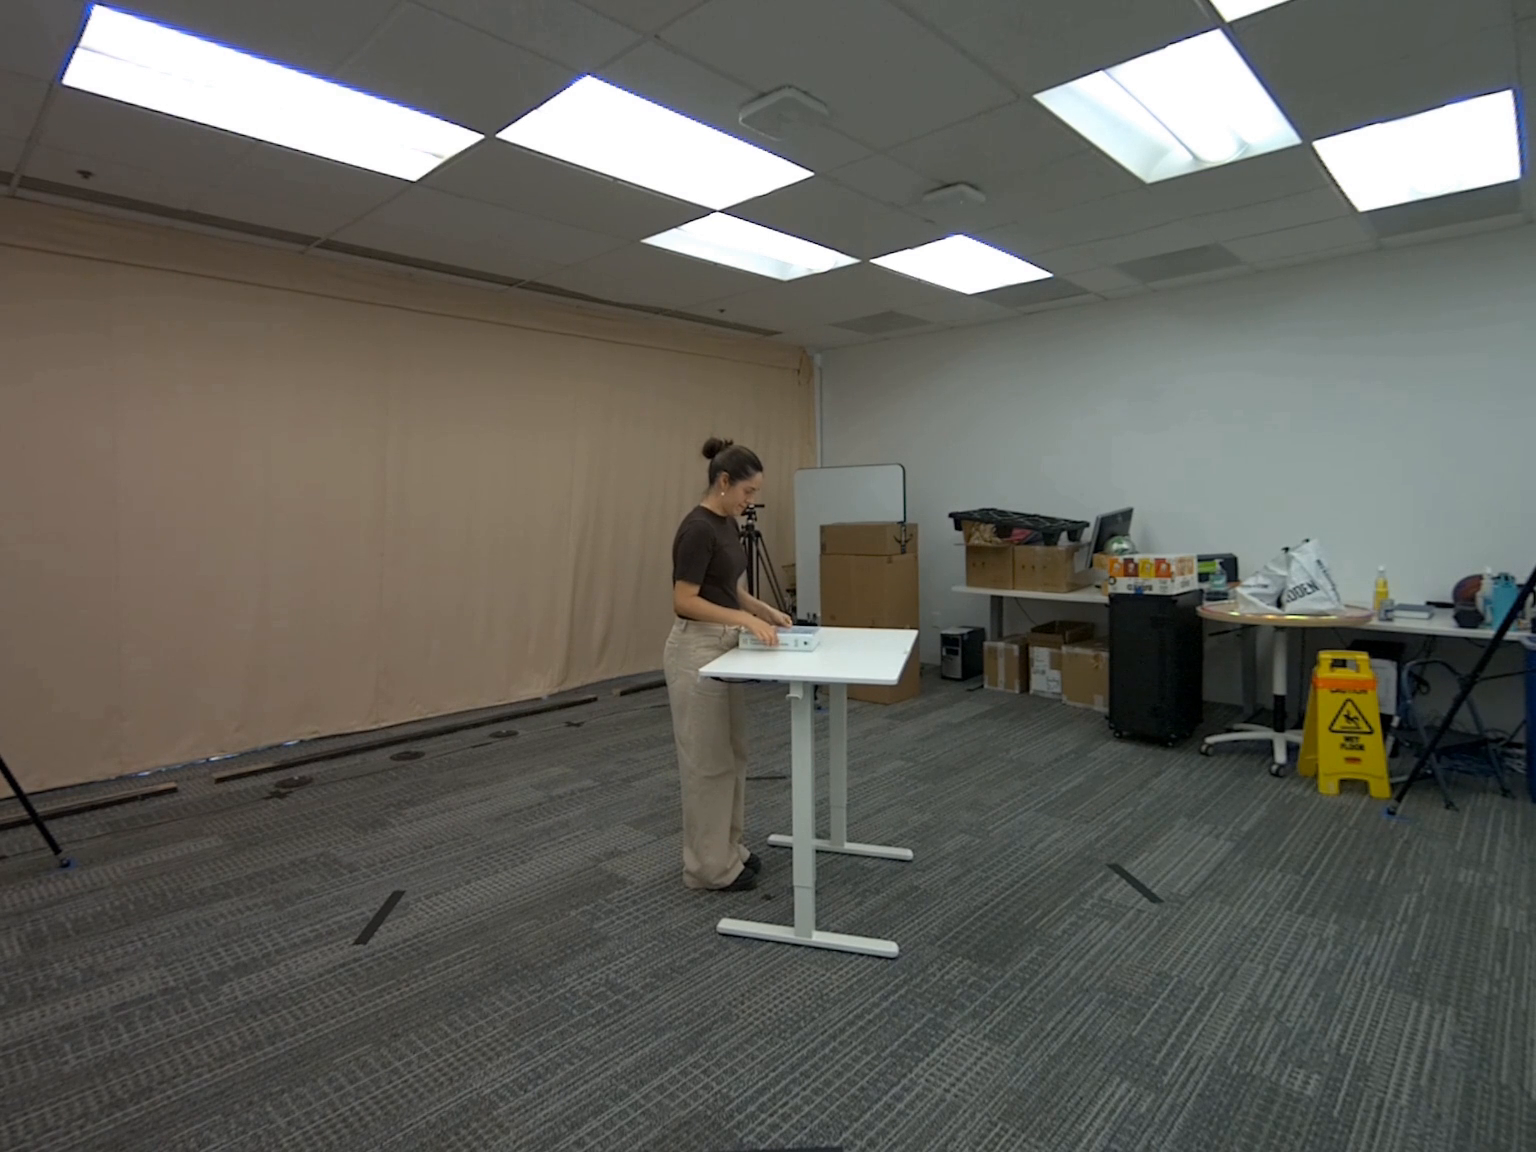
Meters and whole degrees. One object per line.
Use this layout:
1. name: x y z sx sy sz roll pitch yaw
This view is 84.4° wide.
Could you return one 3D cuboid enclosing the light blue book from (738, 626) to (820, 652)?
1. light blue book: 0.049 0.226 3.010 0.265 0.059 0.189 0 5 15
